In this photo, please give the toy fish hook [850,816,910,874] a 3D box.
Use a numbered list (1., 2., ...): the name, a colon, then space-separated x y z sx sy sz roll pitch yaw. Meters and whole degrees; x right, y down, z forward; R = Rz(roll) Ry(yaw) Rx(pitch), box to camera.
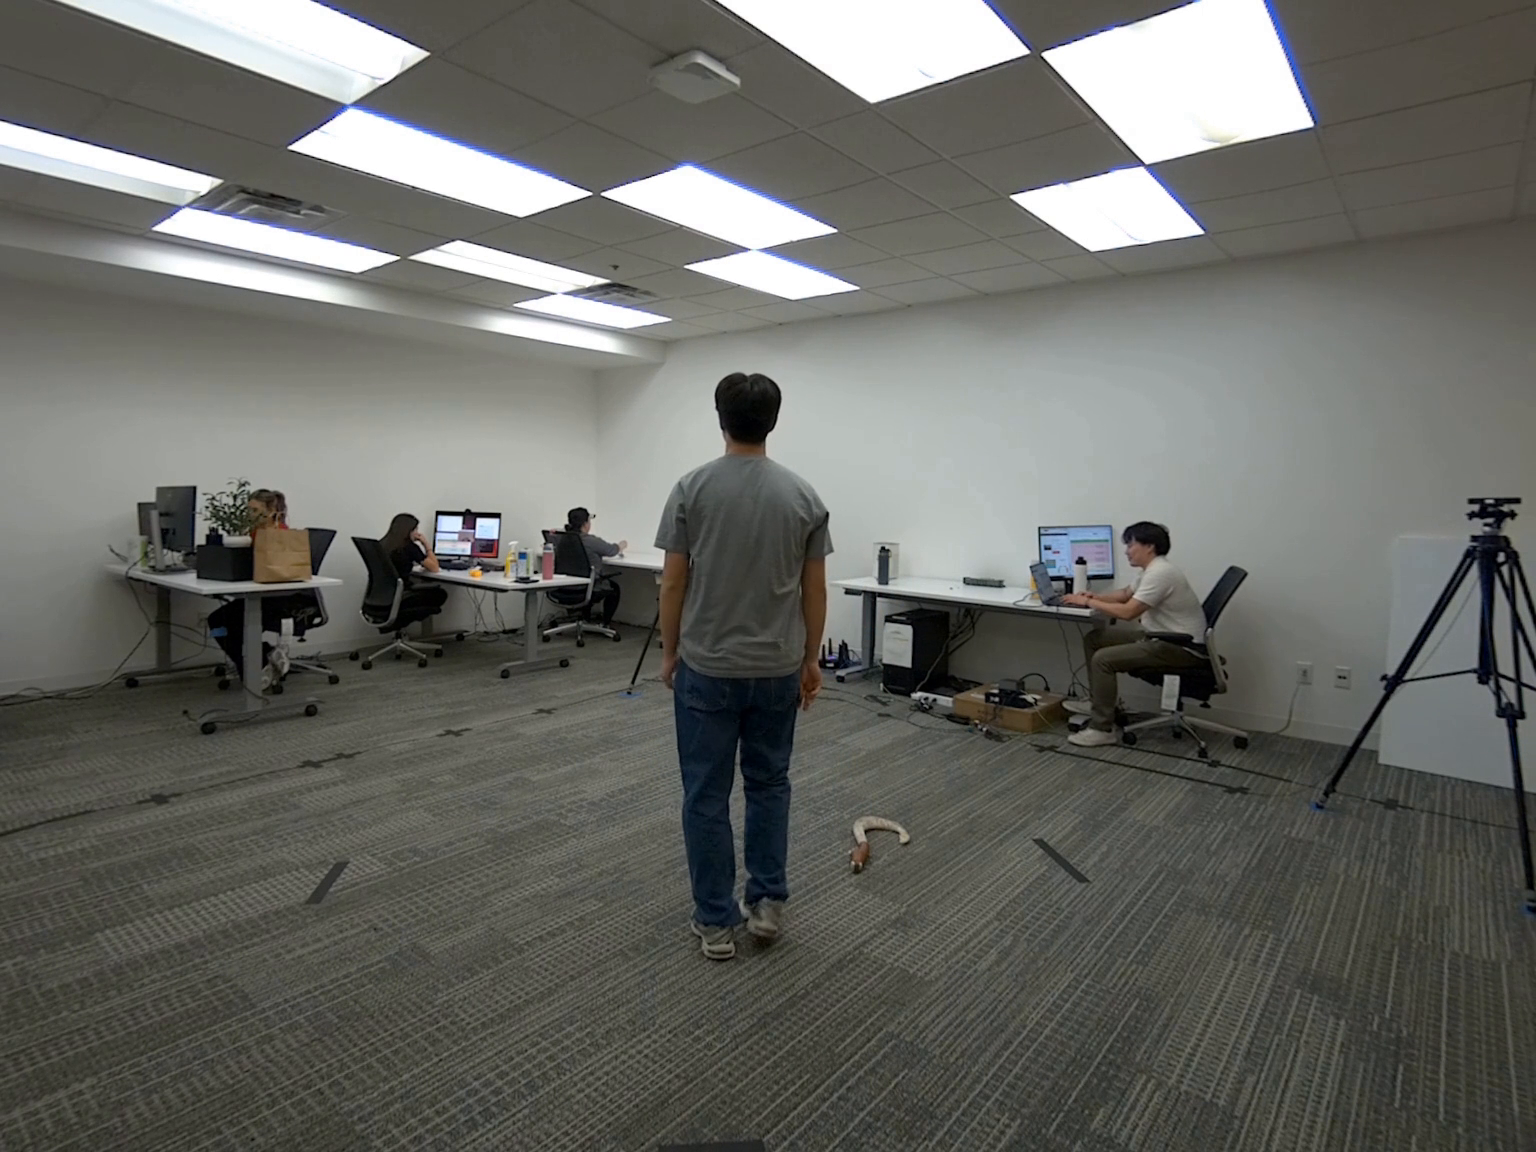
1. toy fish hook: 0.423 1.036 3.310 0.228 0.048 0.500 2 6 14
